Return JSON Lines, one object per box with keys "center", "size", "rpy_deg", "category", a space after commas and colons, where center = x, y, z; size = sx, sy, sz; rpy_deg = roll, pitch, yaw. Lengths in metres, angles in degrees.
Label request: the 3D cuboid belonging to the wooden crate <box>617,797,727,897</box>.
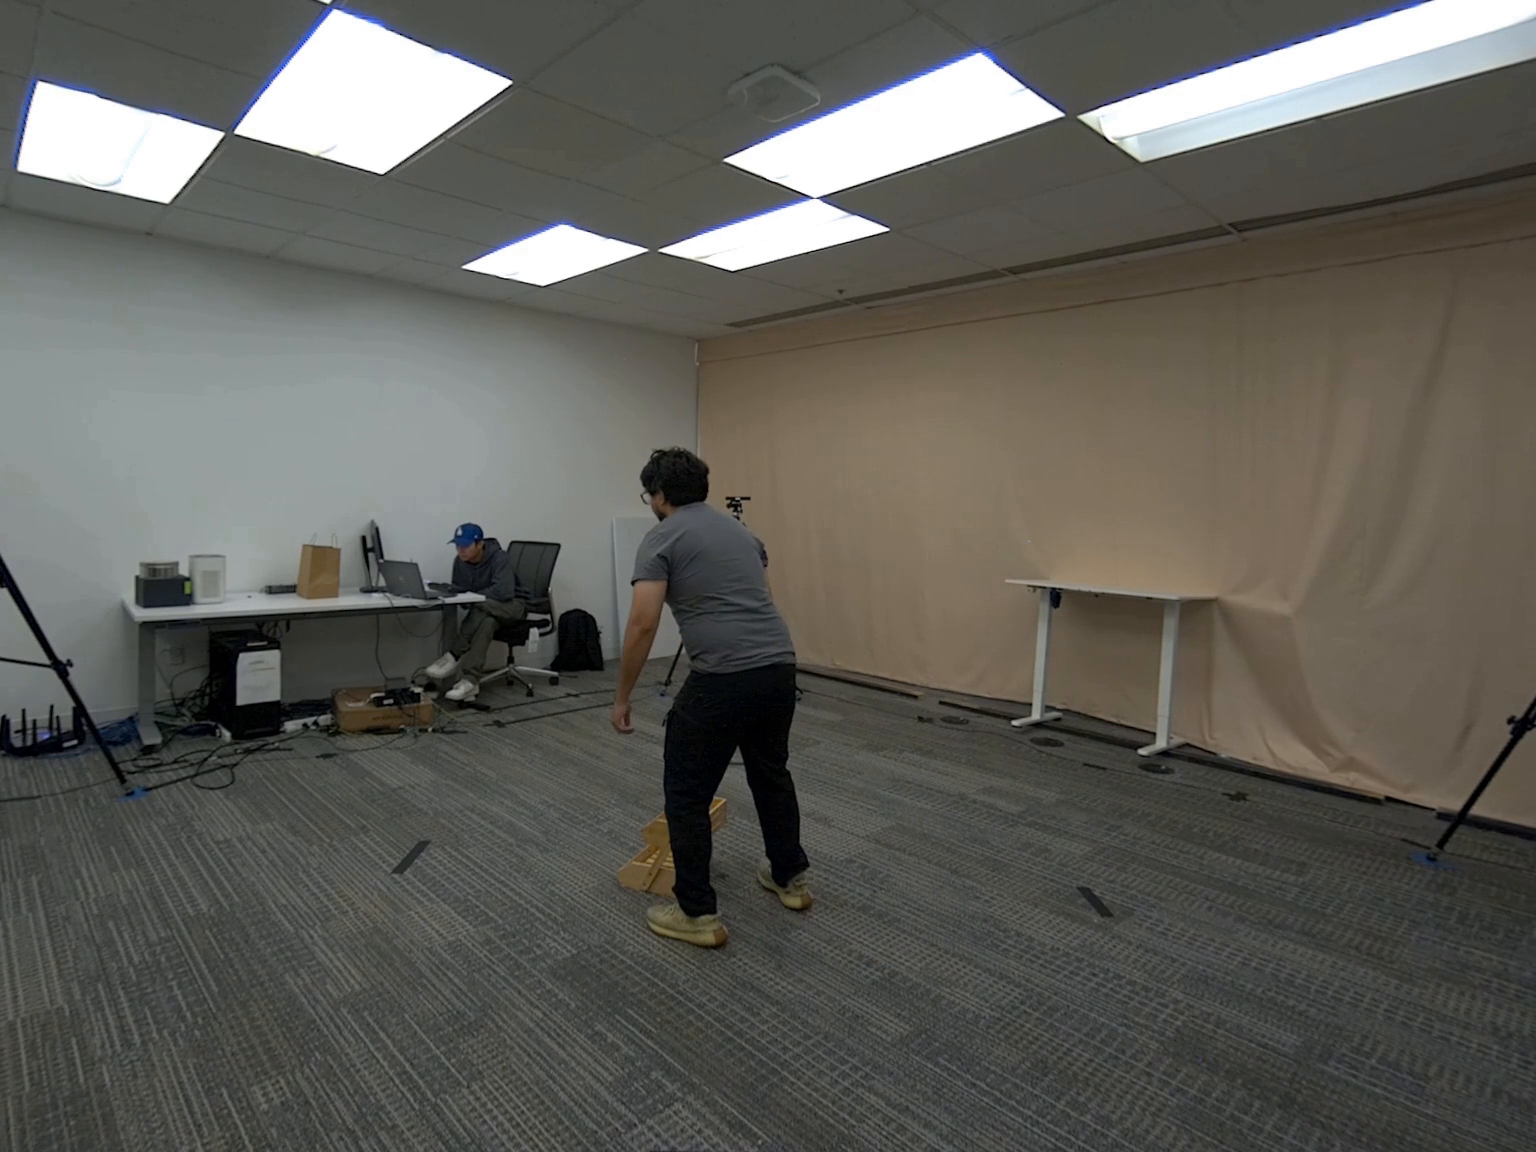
{"center": [-0.366, 0.976, 3.091], "size": [0.307, 0.272, 0.320], "rpy_deg": [3, 5, 19], "category": "wooden crate"}
